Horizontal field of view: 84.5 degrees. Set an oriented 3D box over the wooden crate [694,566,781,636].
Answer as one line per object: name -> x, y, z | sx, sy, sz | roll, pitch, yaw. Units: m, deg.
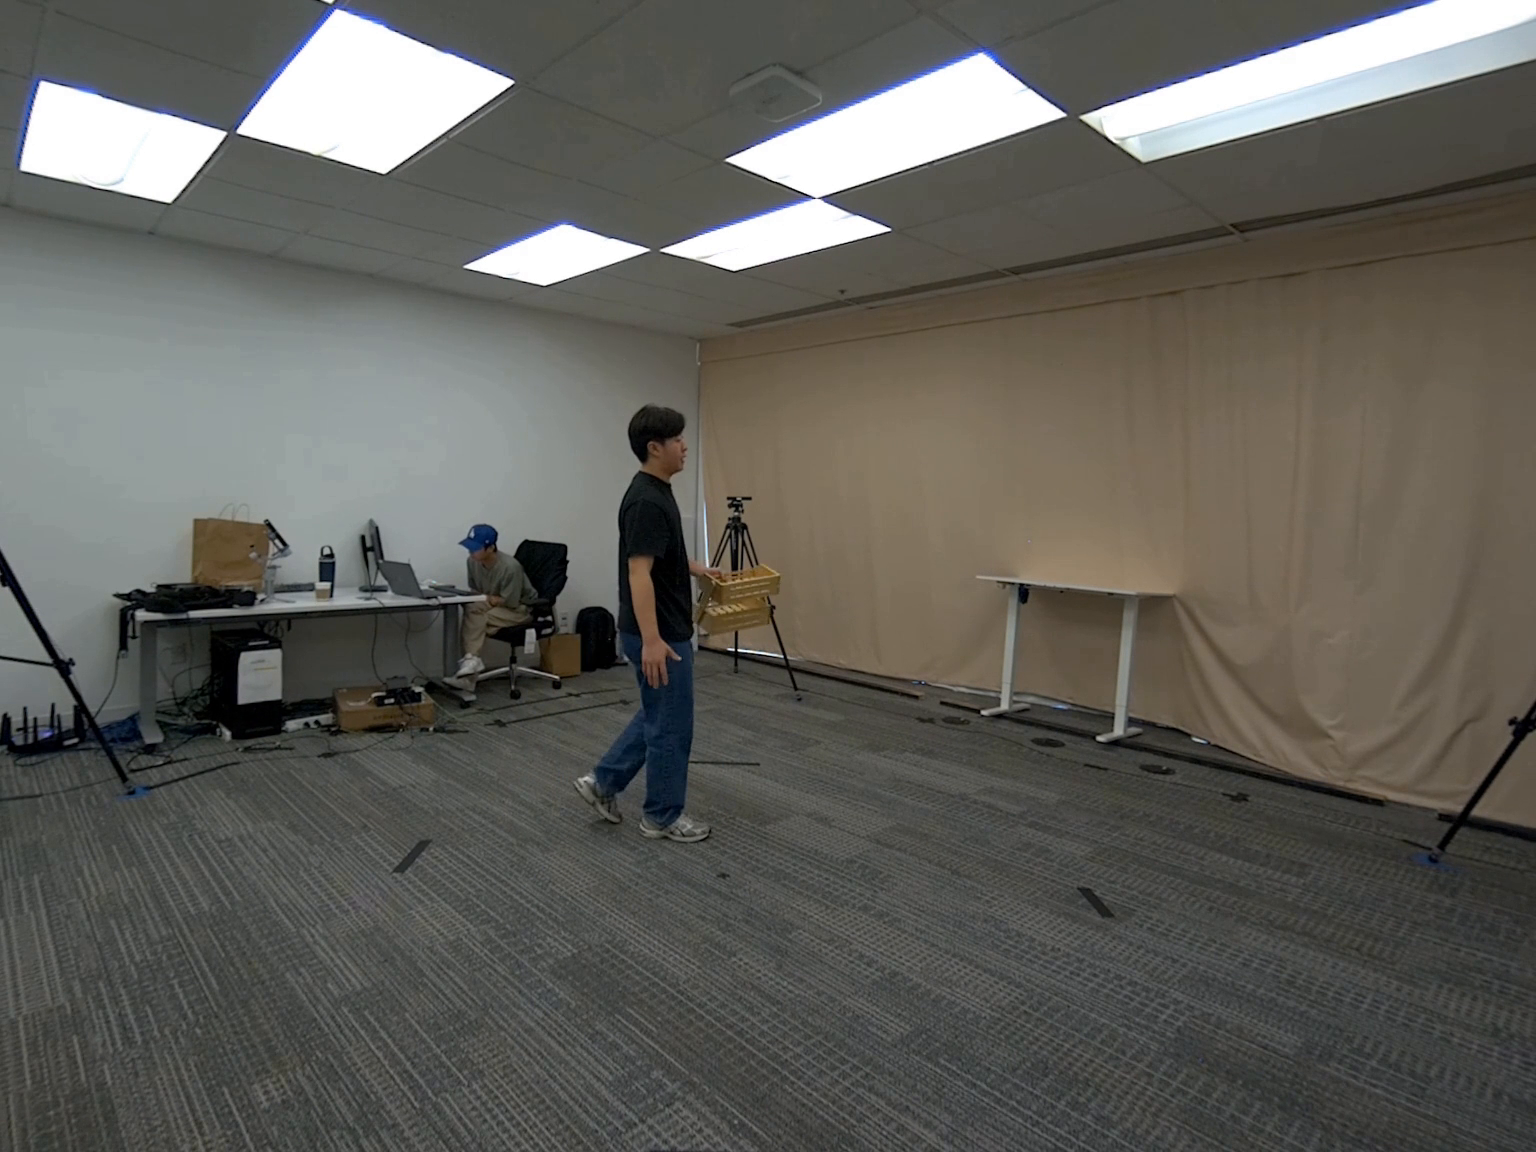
wooden crate -> -0.172, 0.086, 3.763 | 0.319, 0.270, 0.311 | -9, 24, -32
